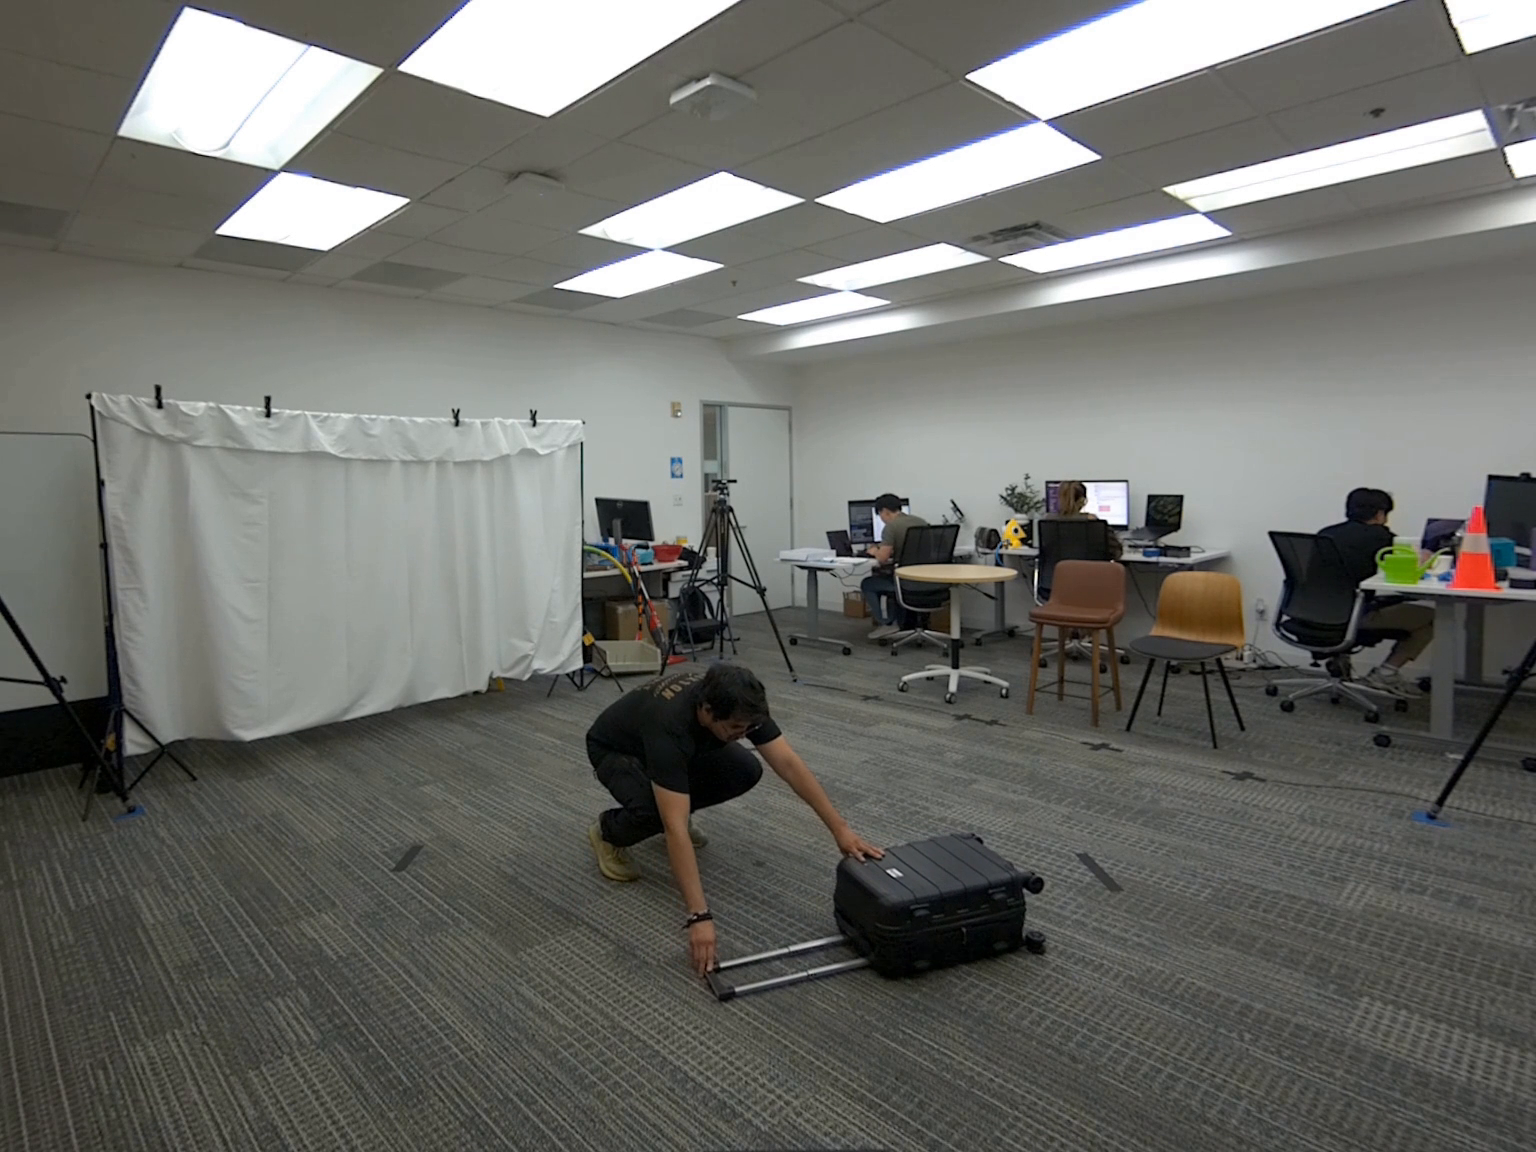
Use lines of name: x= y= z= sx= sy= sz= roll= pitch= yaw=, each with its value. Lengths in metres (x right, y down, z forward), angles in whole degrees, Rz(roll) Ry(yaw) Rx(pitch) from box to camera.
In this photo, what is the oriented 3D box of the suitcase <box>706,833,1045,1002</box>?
suitcase: x=0.306 y=0.983 z=2.508 sx=0.961 sy=0.256 sz=0.393 roll=-2 pitch=6 yaw=-20
